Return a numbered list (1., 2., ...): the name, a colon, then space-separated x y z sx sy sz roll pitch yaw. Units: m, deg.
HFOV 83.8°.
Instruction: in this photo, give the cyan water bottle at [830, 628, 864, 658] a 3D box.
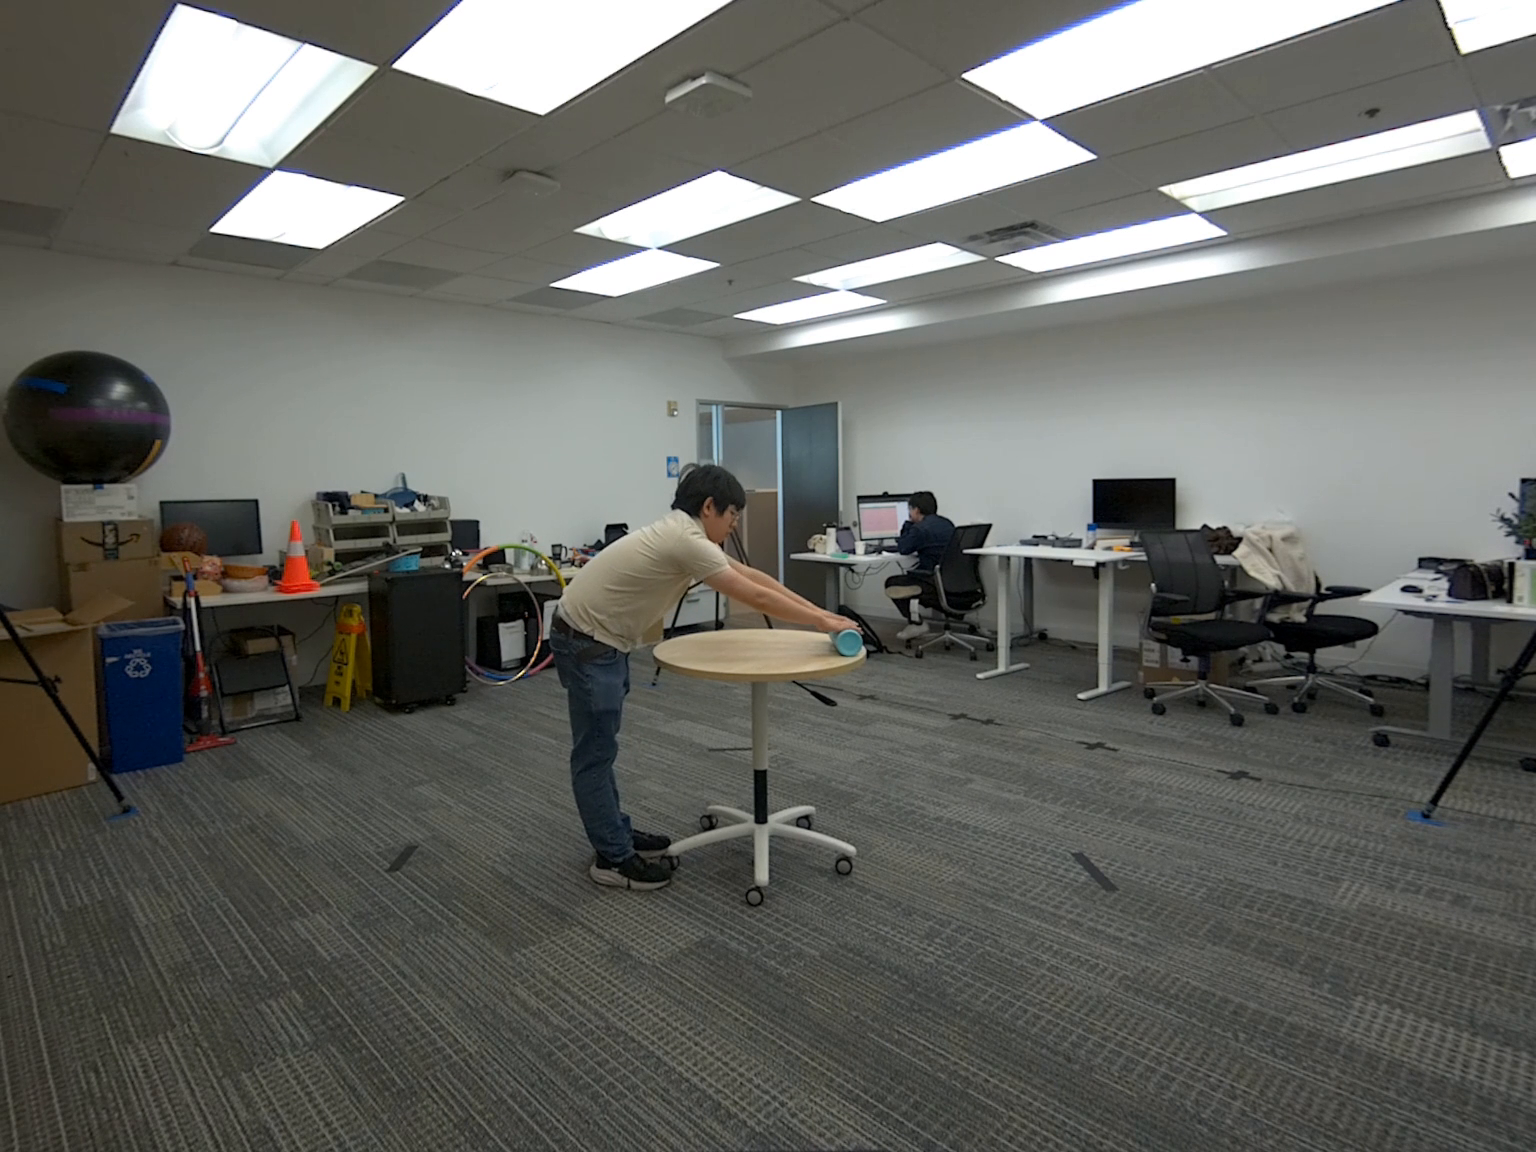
1. cyan water bottle: 0.264 0.220 3.070 0.092 0.092 0.285 -1 6 -3
